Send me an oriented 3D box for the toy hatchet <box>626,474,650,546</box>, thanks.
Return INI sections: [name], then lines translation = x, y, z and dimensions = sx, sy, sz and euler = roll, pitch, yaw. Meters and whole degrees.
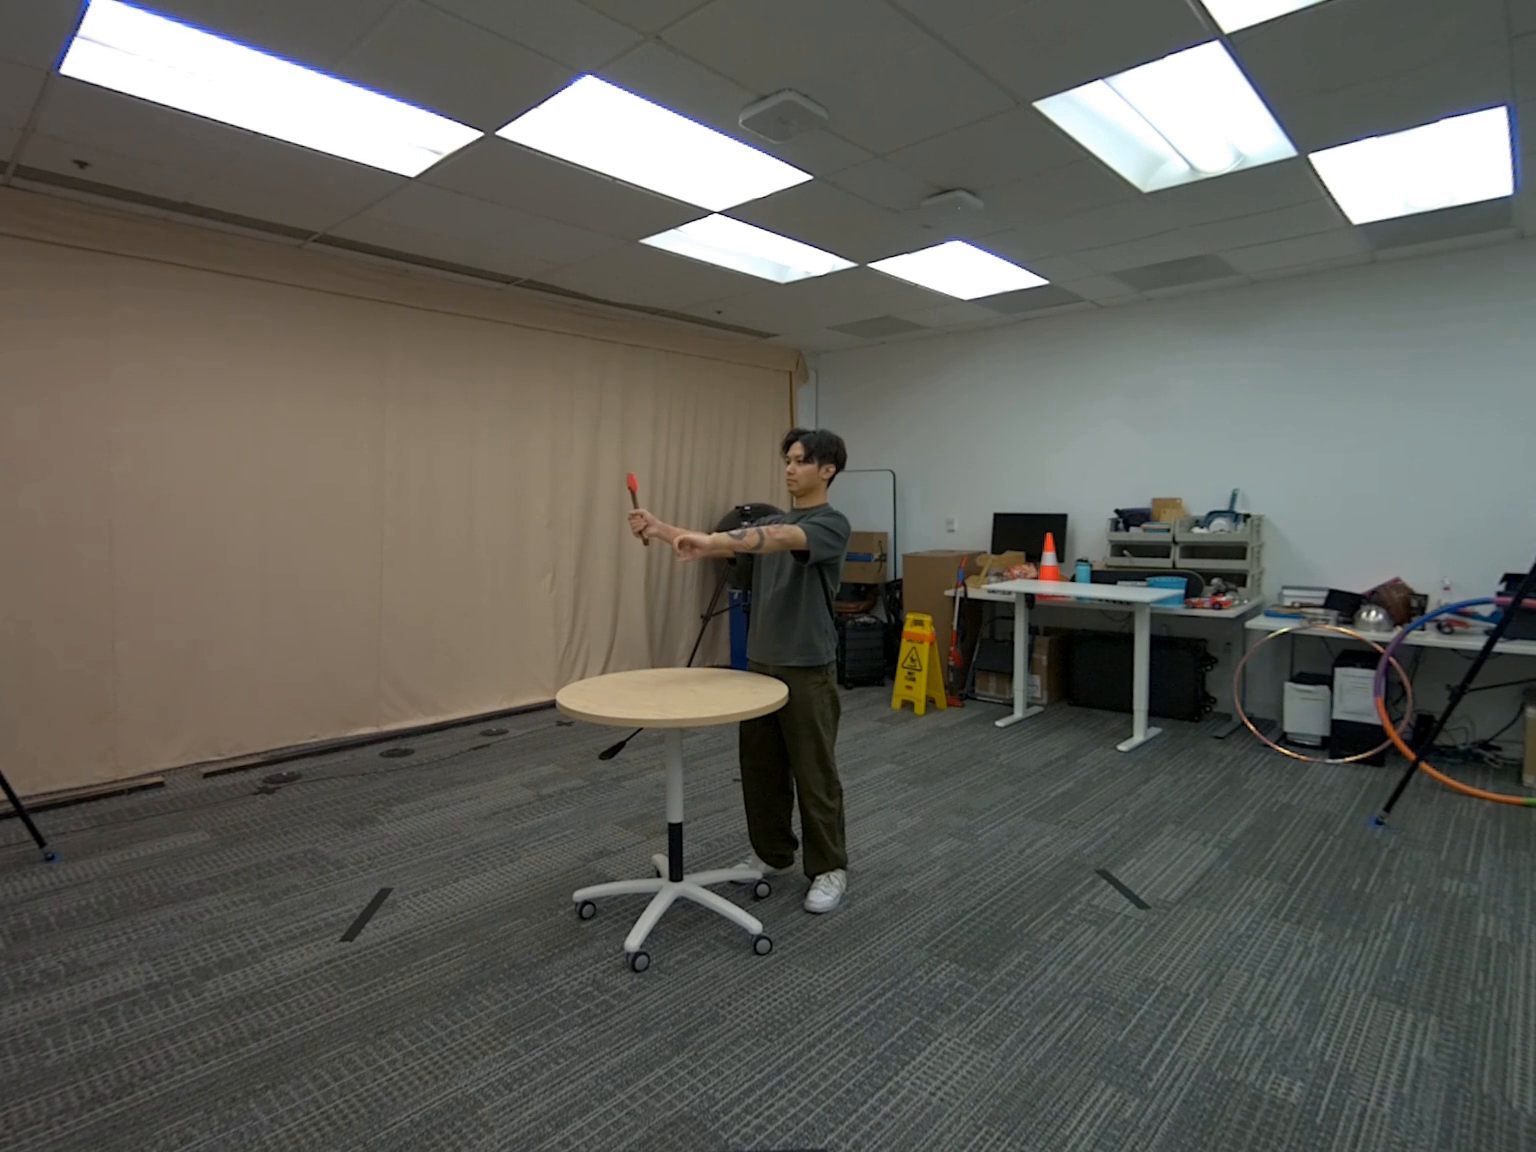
[toy hatchet]
translation = -0.449, -0.242, 2.933
dimensions = 0.029, 0.277, 0.130
euler = -8, -31, -20
